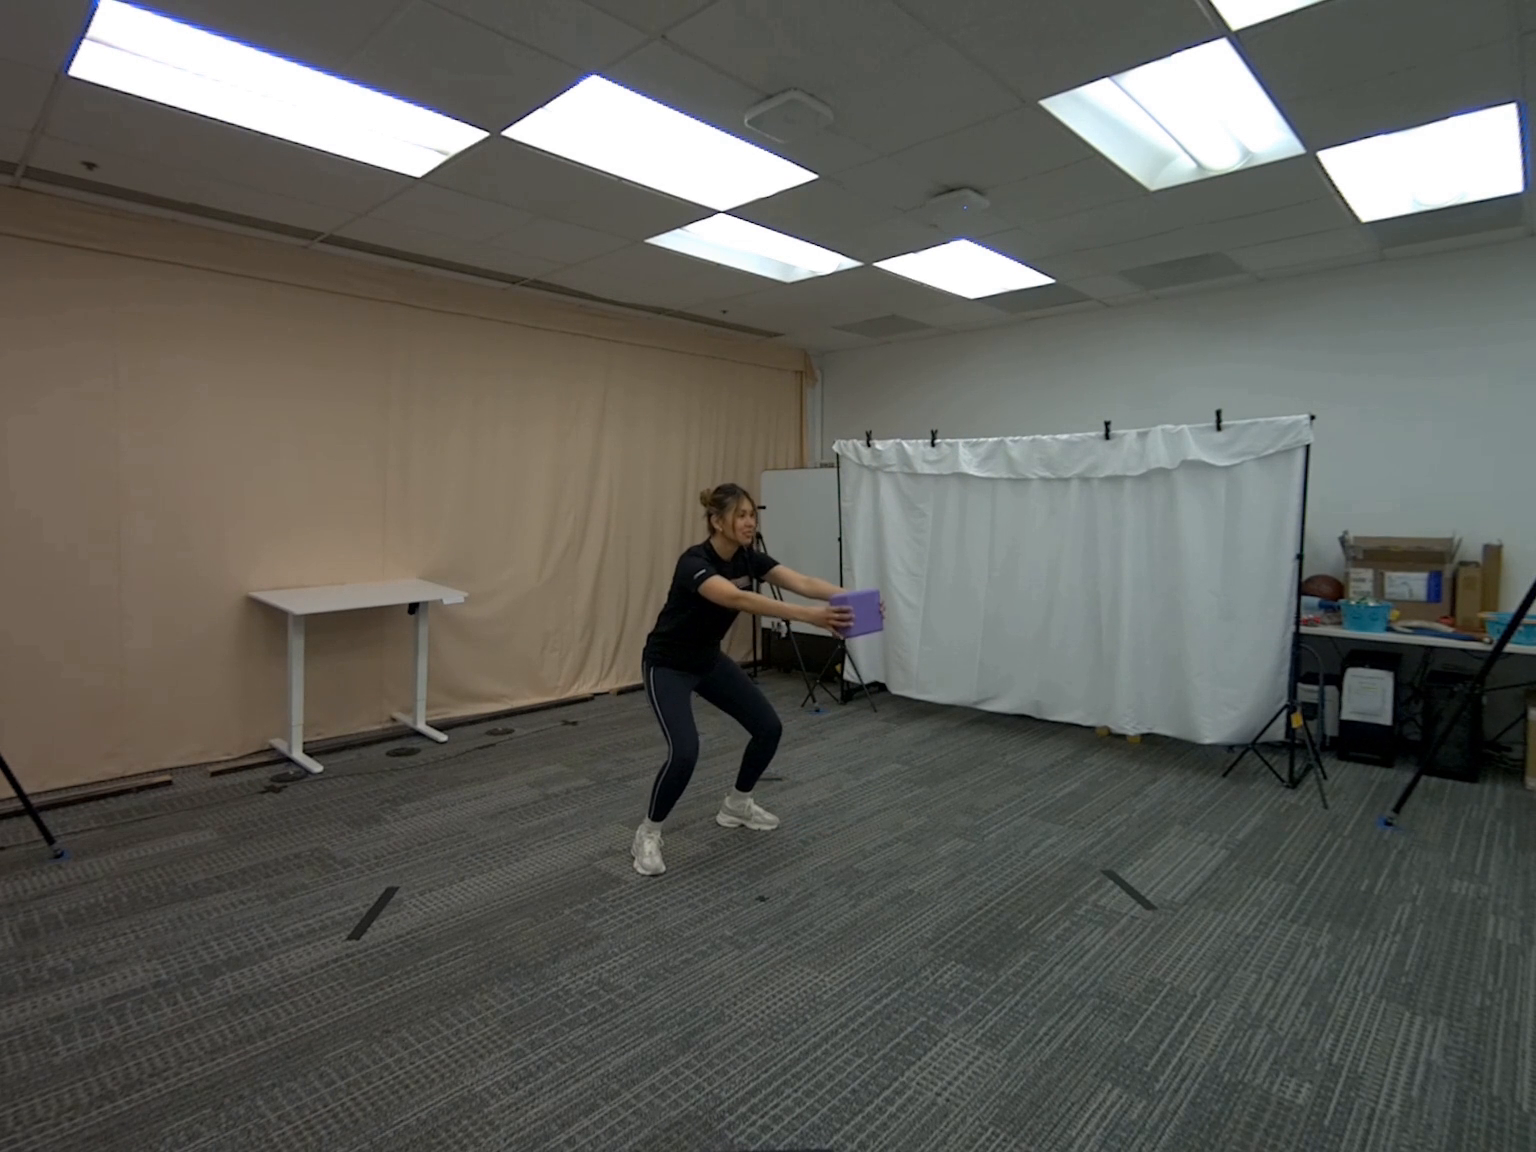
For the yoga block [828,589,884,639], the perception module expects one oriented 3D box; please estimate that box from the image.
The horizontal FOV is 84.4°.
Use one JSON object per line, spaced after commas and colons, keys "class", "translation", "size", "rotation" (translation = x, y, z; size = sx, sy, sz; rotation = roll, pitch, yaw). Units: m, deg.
{"class": "yoga block", "translation": [0.314, 0.128, 2.910], "size": [0.079, 0.149, 0.222], "rotation": [0, 2, 41]}
